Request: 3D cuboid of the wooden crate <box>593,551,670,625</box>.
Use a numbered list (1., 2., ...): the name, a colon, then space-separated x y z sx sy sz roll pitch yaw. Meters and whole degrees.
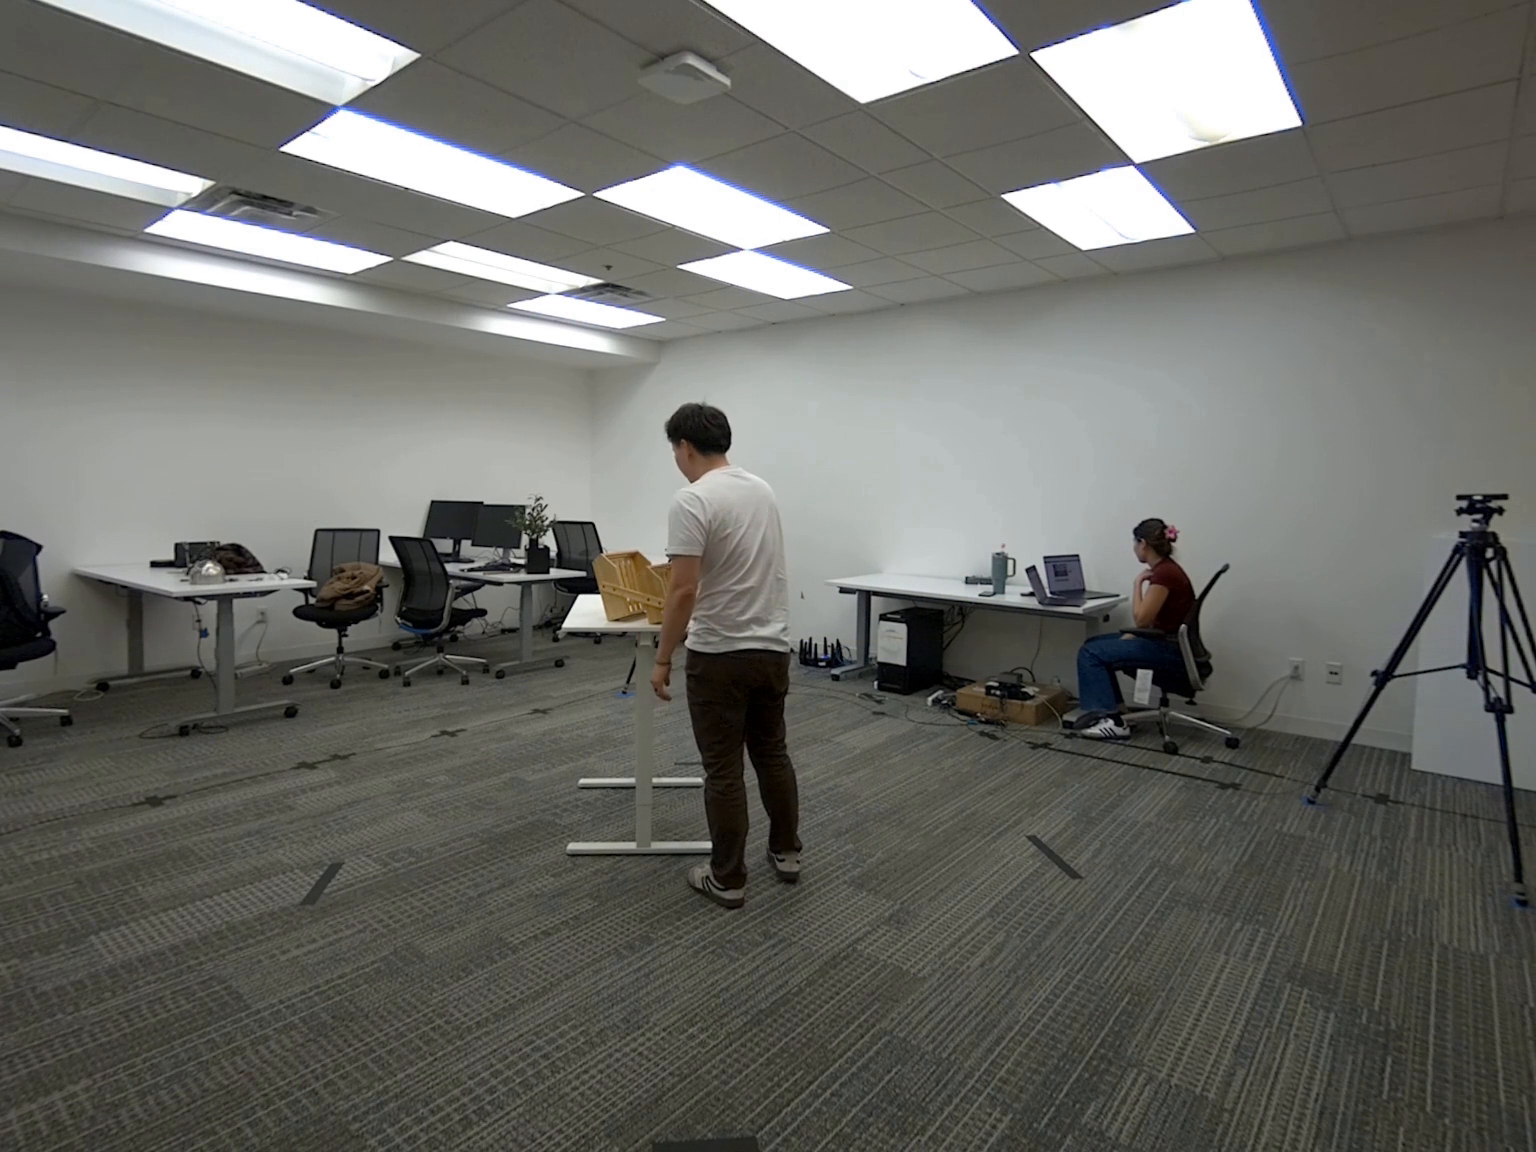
1. wooden crate: -0.472 0.026 3.299 0.277 0.303 0.319 -16 -1 19
